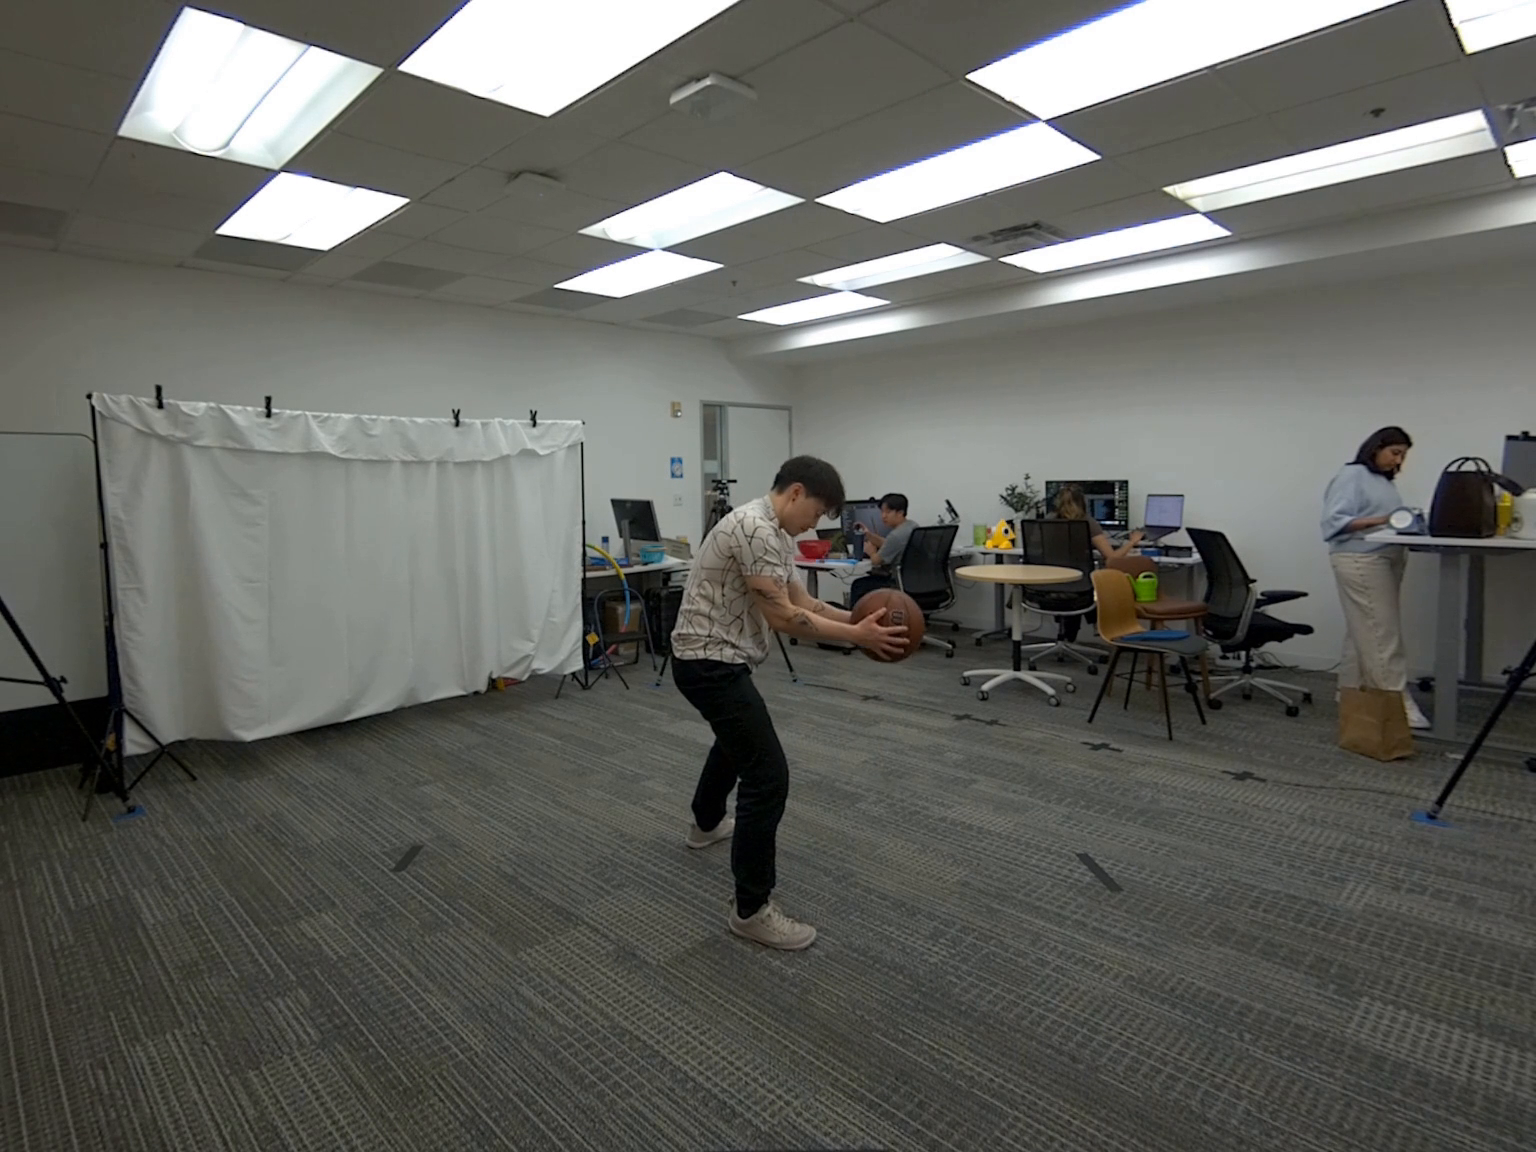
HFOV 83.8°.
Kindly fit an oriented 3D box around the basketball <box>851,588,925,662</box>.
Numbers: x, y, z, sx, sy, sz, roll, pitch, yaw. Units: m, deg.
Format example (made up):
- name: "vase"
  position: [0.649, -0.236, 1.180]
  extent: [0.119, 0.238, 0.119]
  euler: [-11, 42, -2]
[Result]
- name: "basketball"
  position: [0.382, 0.160, 2.748]
  extent: [0.236, 0.235, 0.237]
  euler: [-1, 5, -2]
